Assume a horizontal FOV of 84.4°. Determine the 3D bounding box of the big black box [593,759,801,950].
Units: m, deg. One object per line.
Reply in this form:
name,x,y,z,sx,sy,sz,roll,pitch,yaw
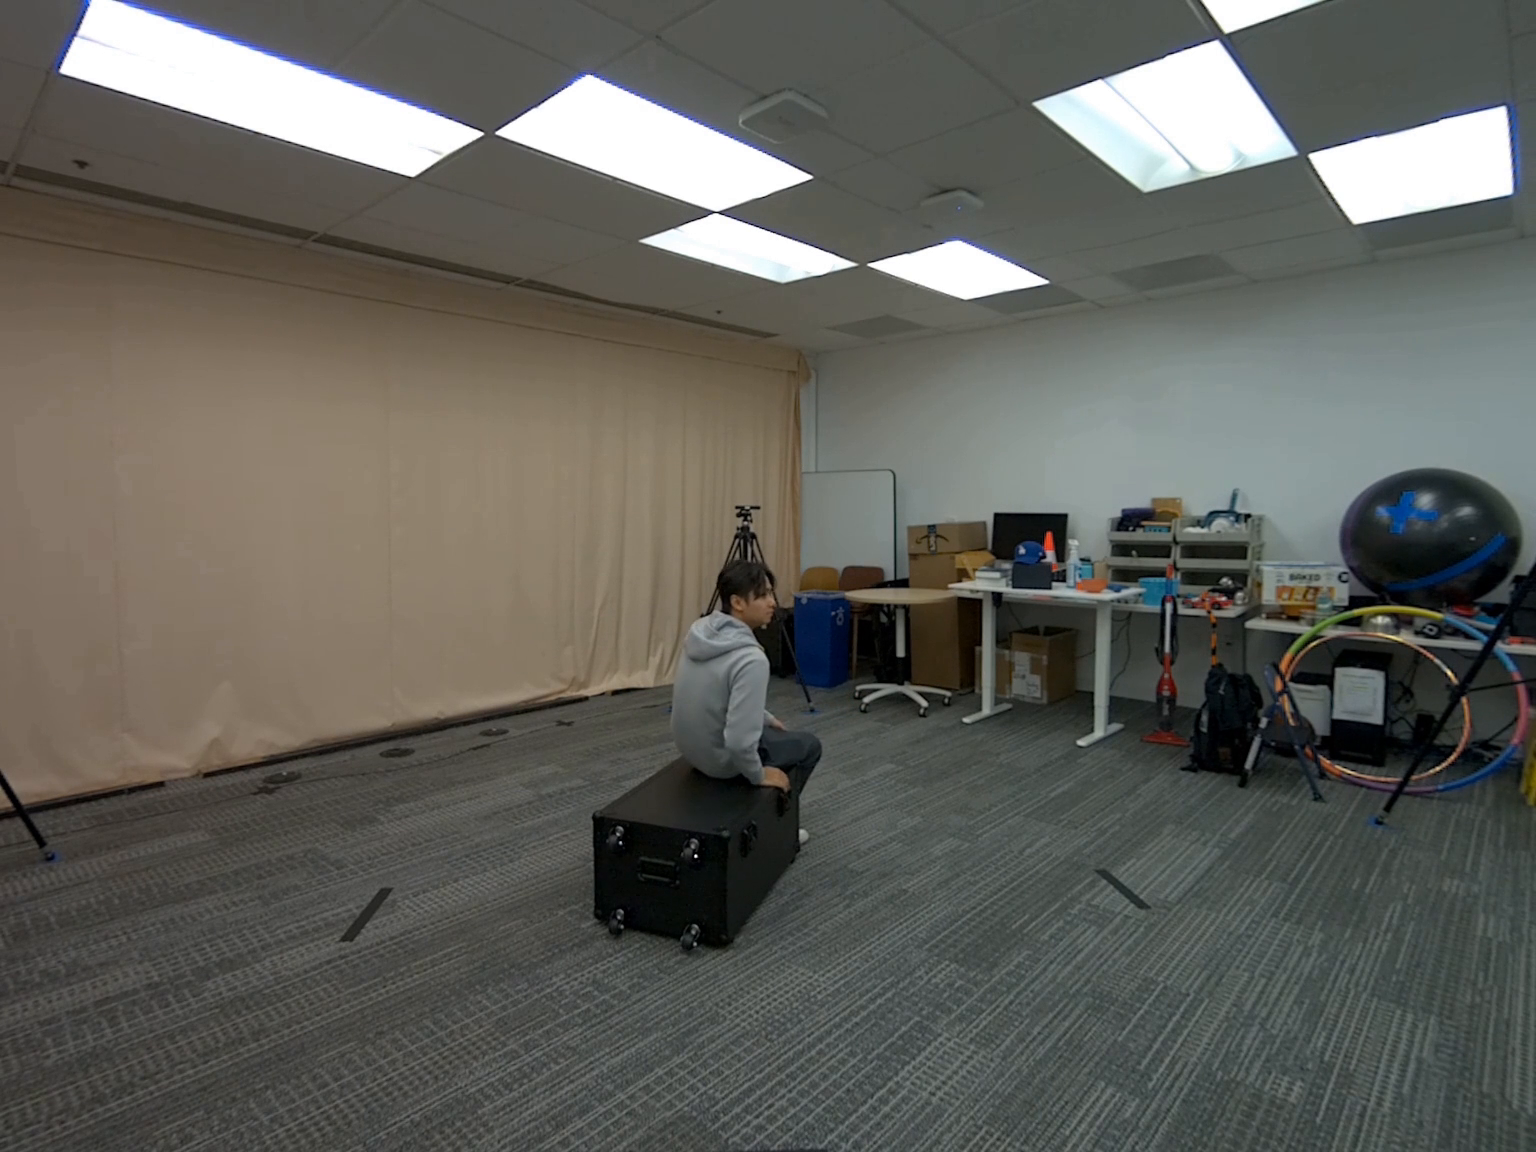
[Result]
big black box,-0.215,0.950,3.085,0.533,0.395,0.845,2,6,20
